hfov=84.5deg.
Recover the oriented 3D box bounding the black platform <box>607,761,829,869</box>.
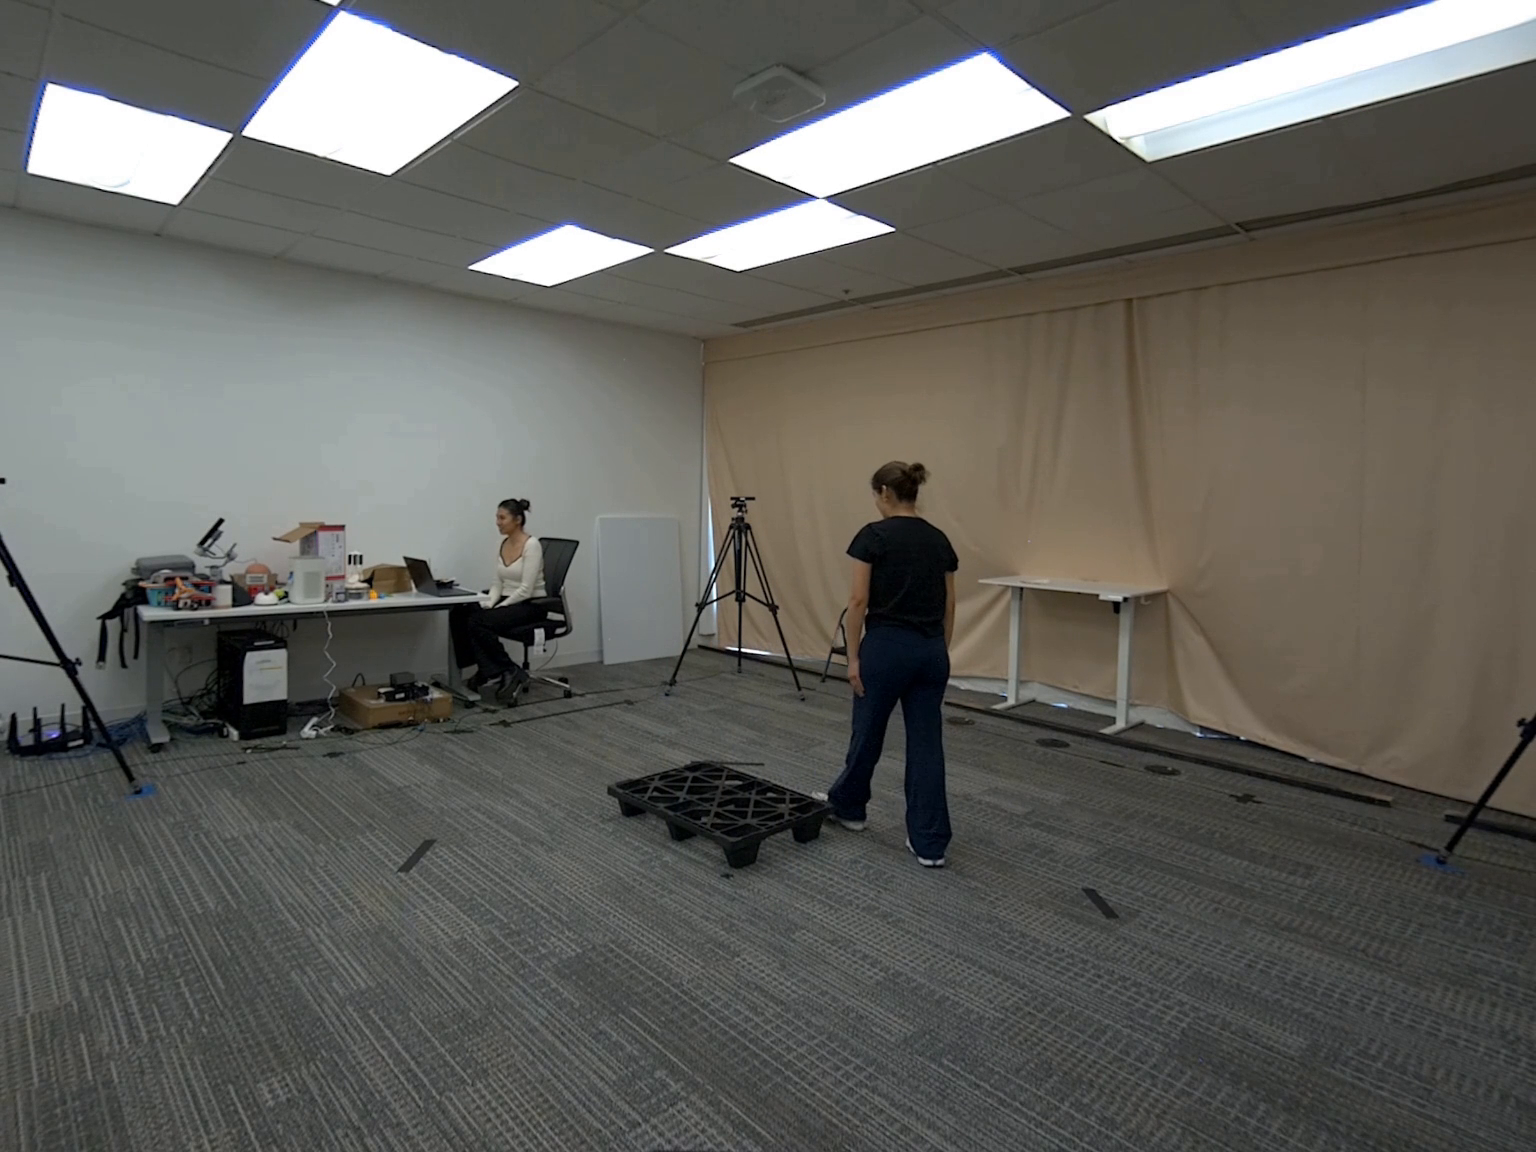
[{"bbox_3d":[-0.221,0.999,3.559,0.592,0.143,0.826,-5,7,-44],"label":"black platform"}]
